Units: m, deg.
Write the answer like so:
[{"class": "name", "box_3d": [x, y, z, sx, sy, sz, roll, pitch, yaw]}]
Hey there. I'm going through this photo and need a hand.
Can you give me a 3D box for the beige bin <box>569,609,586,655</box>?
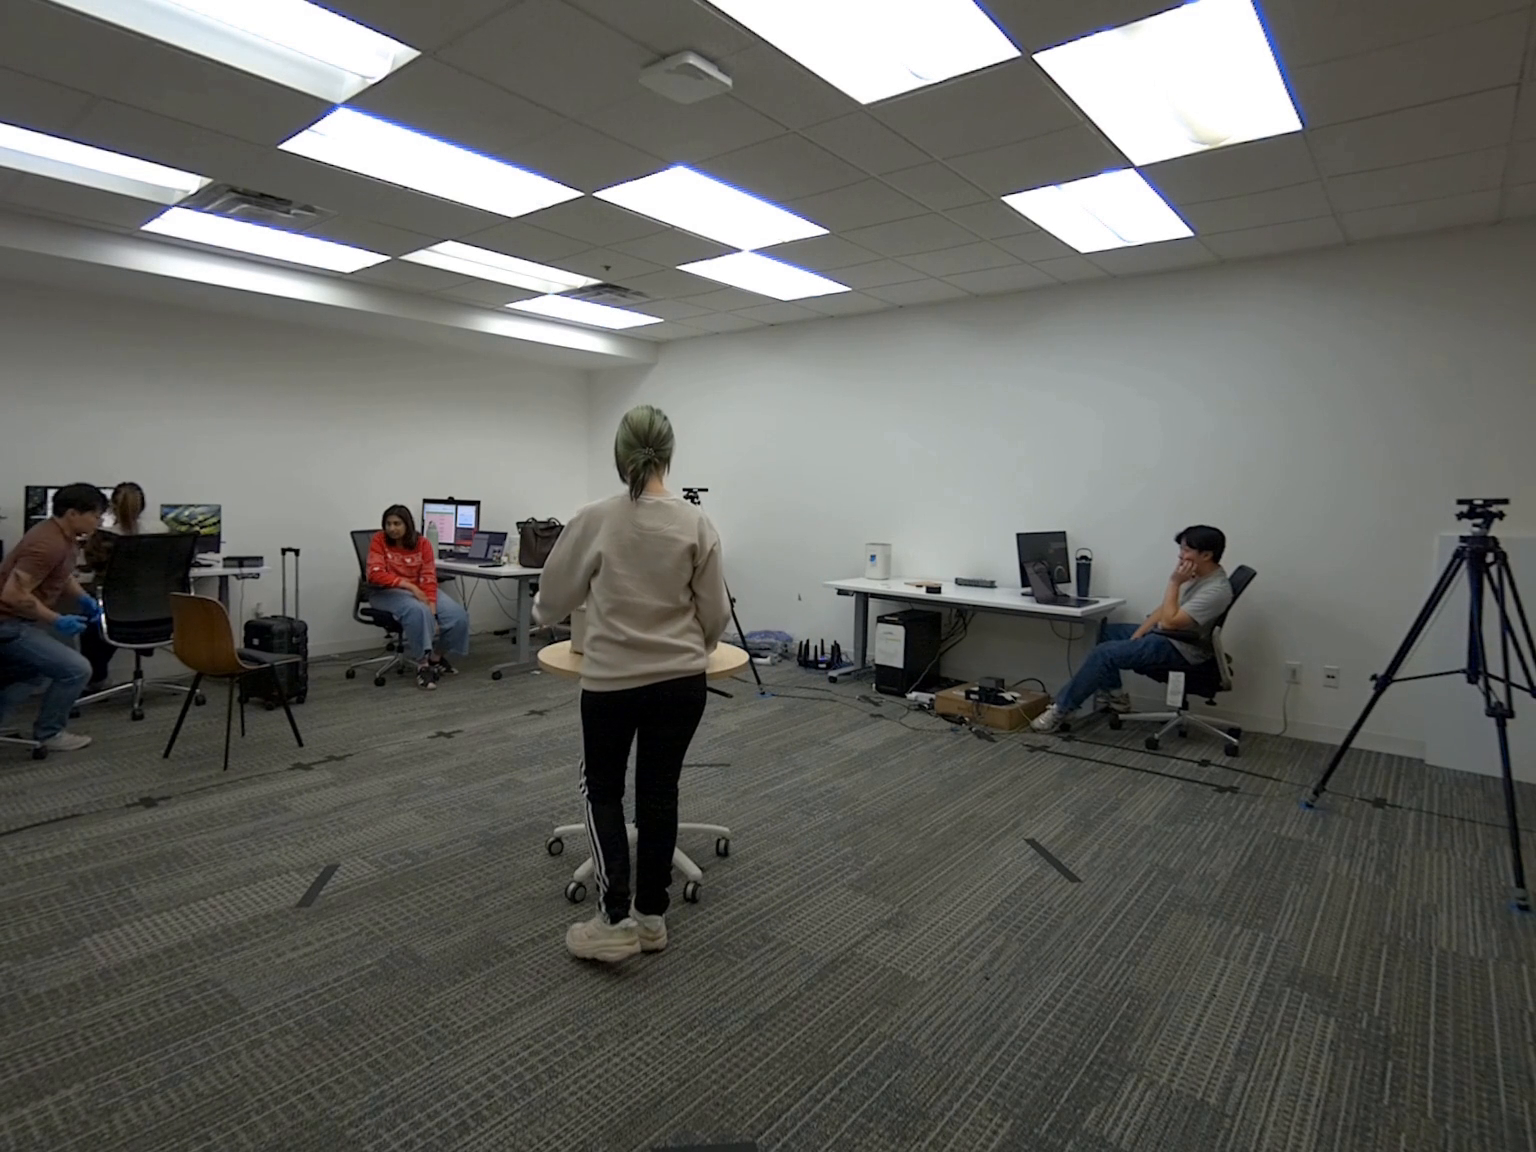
[{"class": "beige bin", "box_3d": [-0.462, 0.196, 3.056, 0.366, 0.188, 0.437, -5, 8, -43]}]
